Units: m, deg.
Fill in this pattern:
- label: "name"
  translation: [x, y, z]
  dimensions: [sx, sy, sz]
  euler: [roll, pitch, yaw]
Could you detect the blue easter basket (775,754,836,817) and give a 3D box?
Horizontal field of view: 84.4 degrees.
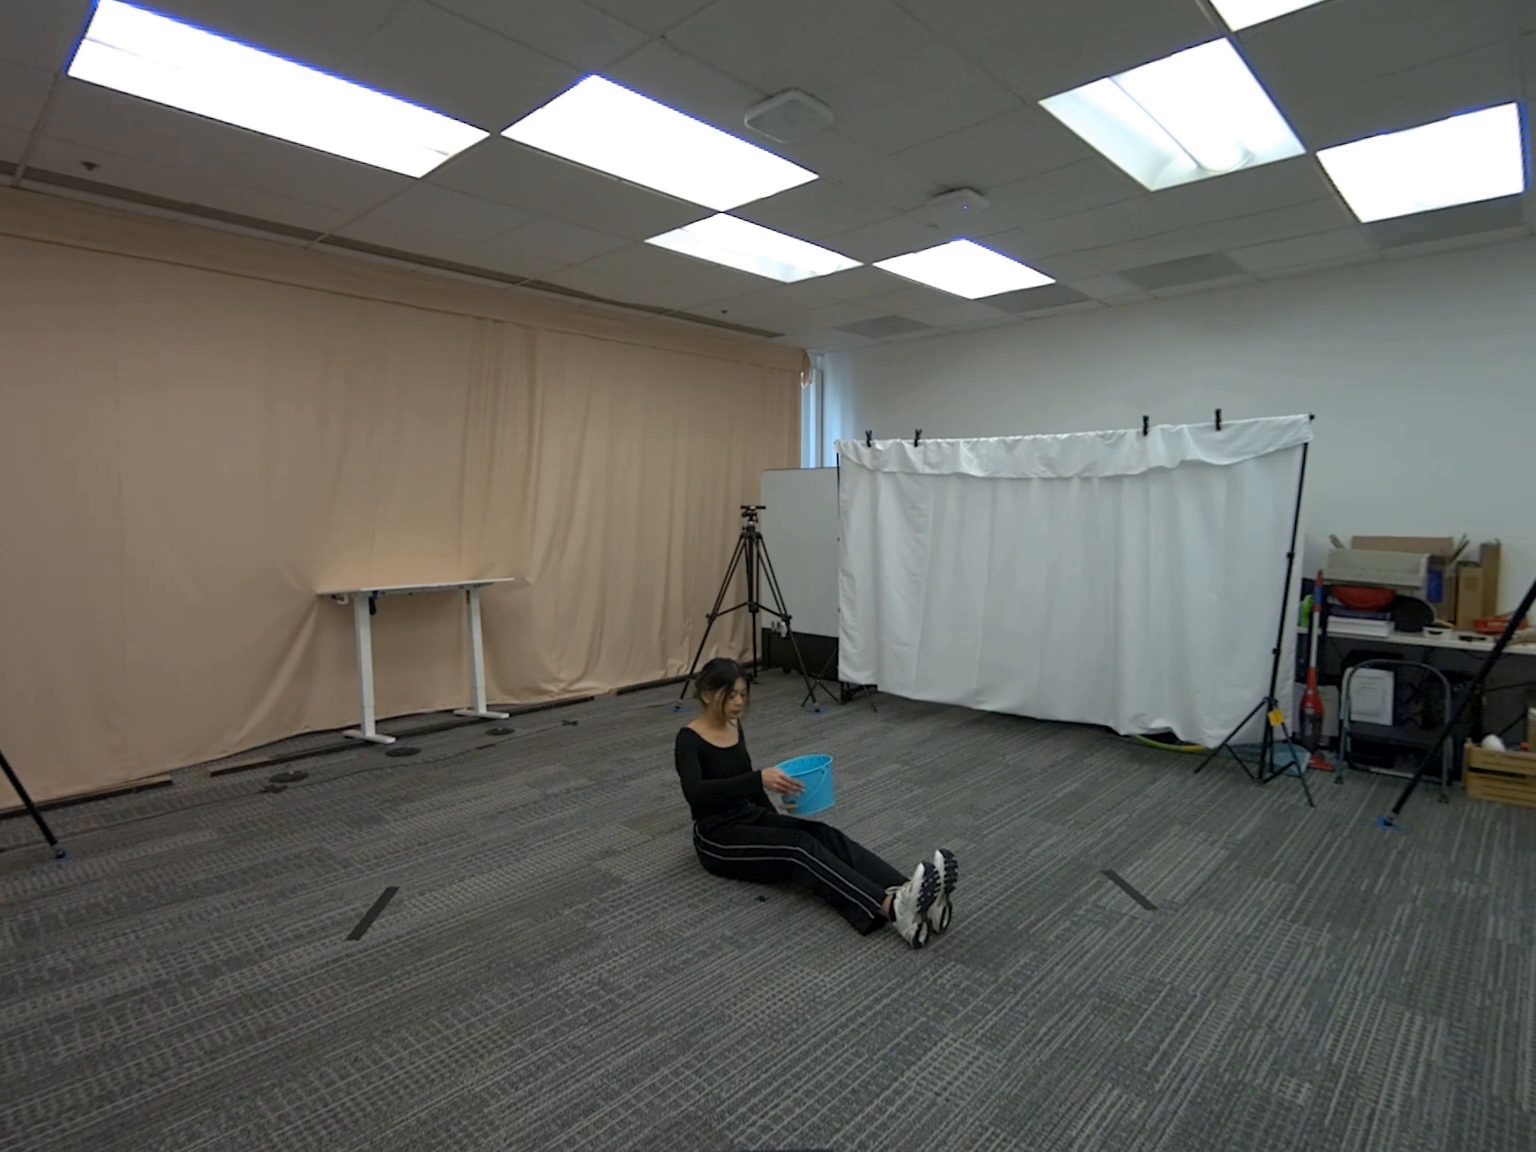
- label: "blue easter basket"
  translation: [0.129, 0.768, 3.067]
  dimensions: [0.243, 0.156, 0.244]
  euler: [-12, 1, -2]
